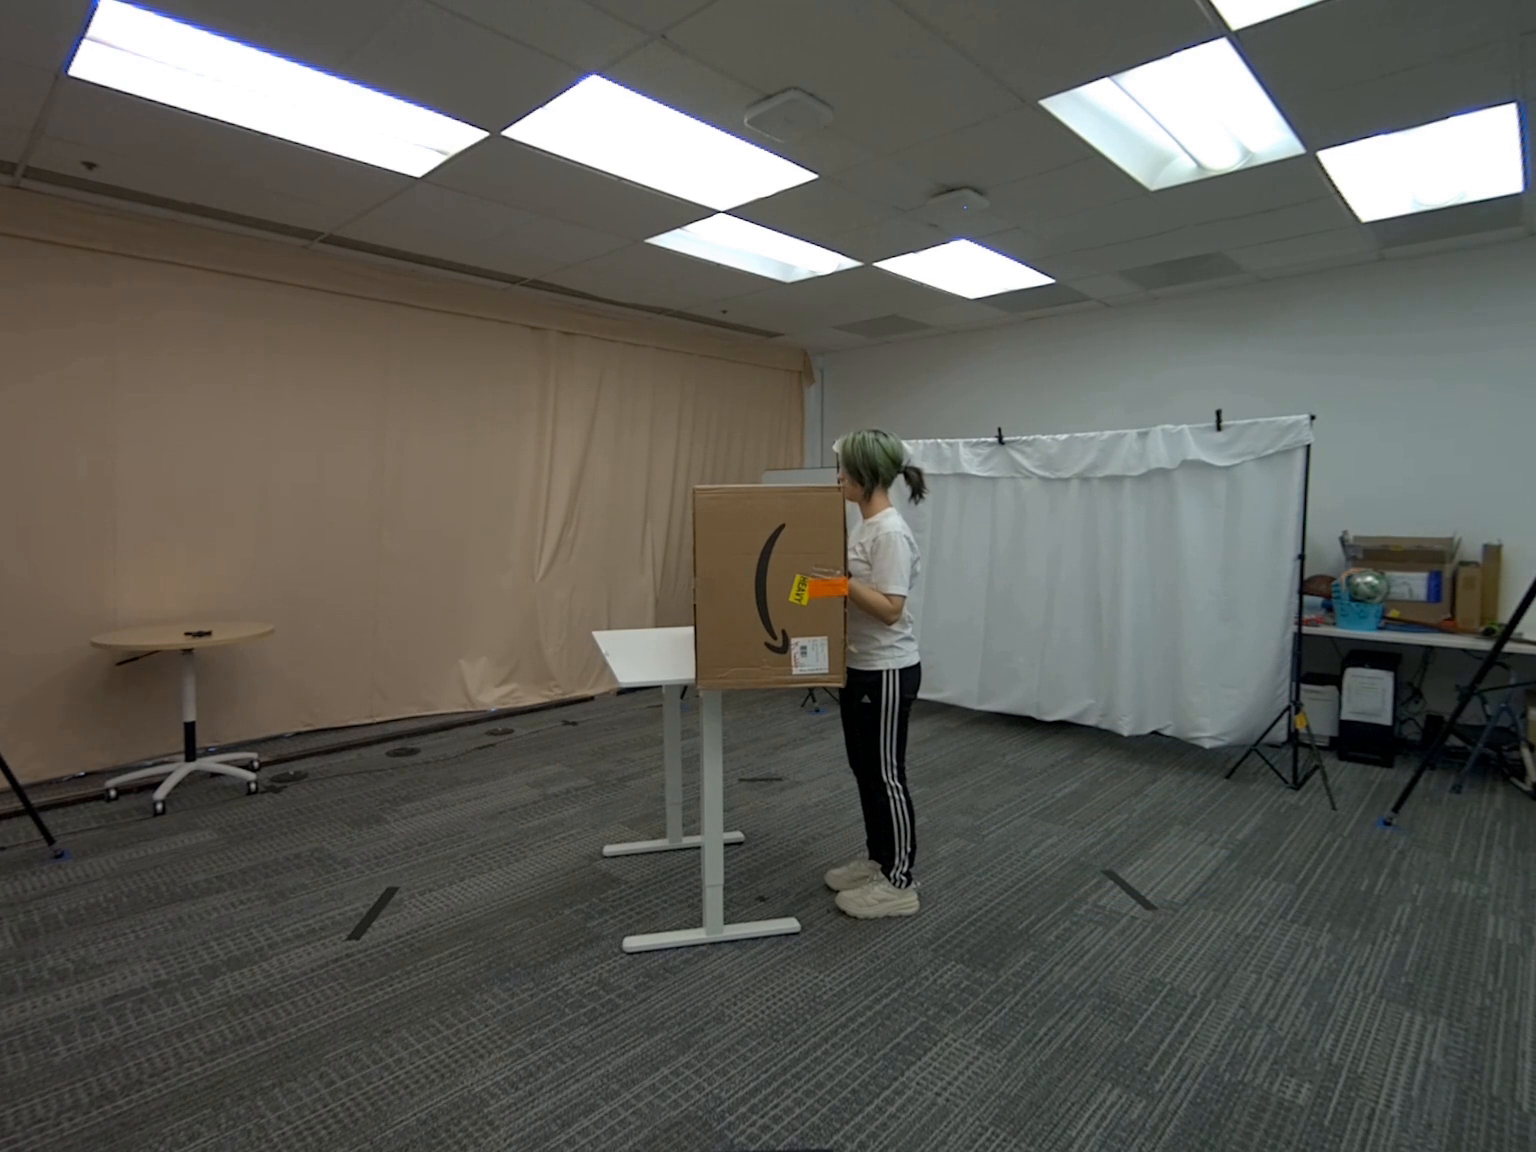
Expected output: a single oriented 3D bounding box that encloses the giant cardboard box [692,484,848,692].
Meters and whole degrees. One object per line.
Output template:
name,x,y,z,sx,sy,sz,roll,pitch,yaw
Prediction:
giant cardboard box,-0.040,-0.024,2.856,0.445,0.582,1.034,0,5,-5
